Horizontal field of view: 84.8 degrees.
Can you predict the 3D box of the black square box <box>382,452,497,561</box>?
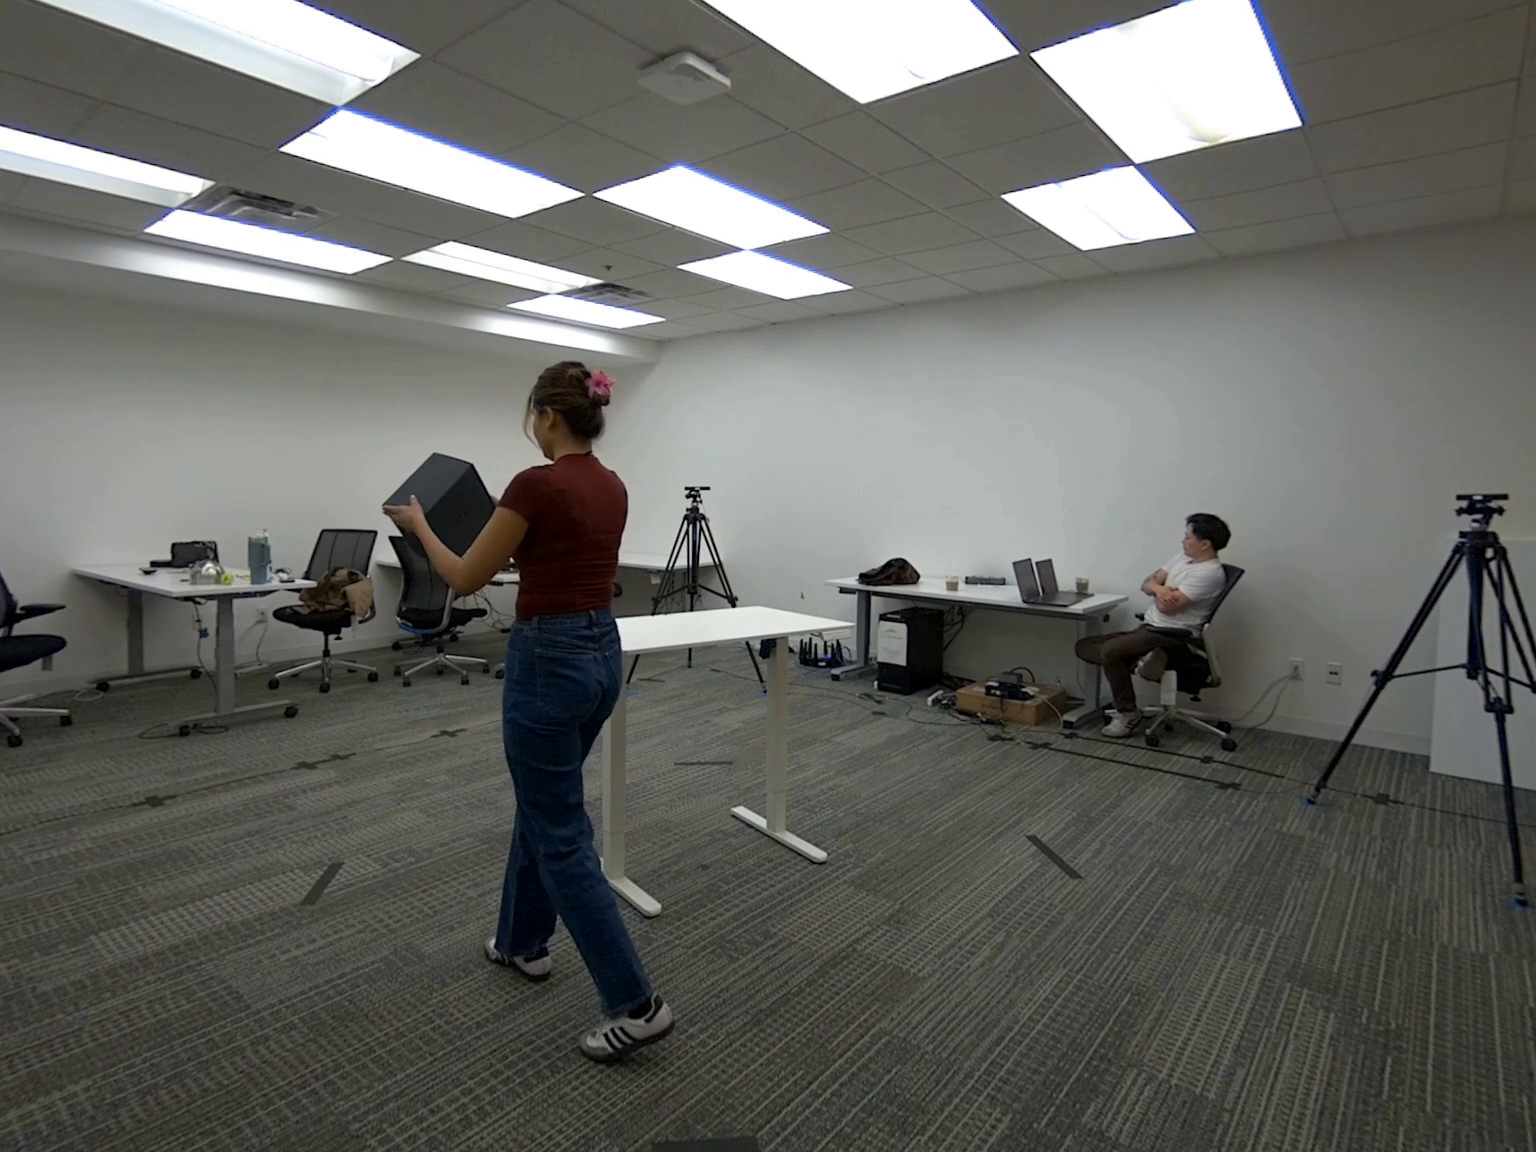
[{"bbox_3d":[-0.943,-0.190,2.450,0.161,0.229,0.209,17,-34,24],"label":"black square box"}]
